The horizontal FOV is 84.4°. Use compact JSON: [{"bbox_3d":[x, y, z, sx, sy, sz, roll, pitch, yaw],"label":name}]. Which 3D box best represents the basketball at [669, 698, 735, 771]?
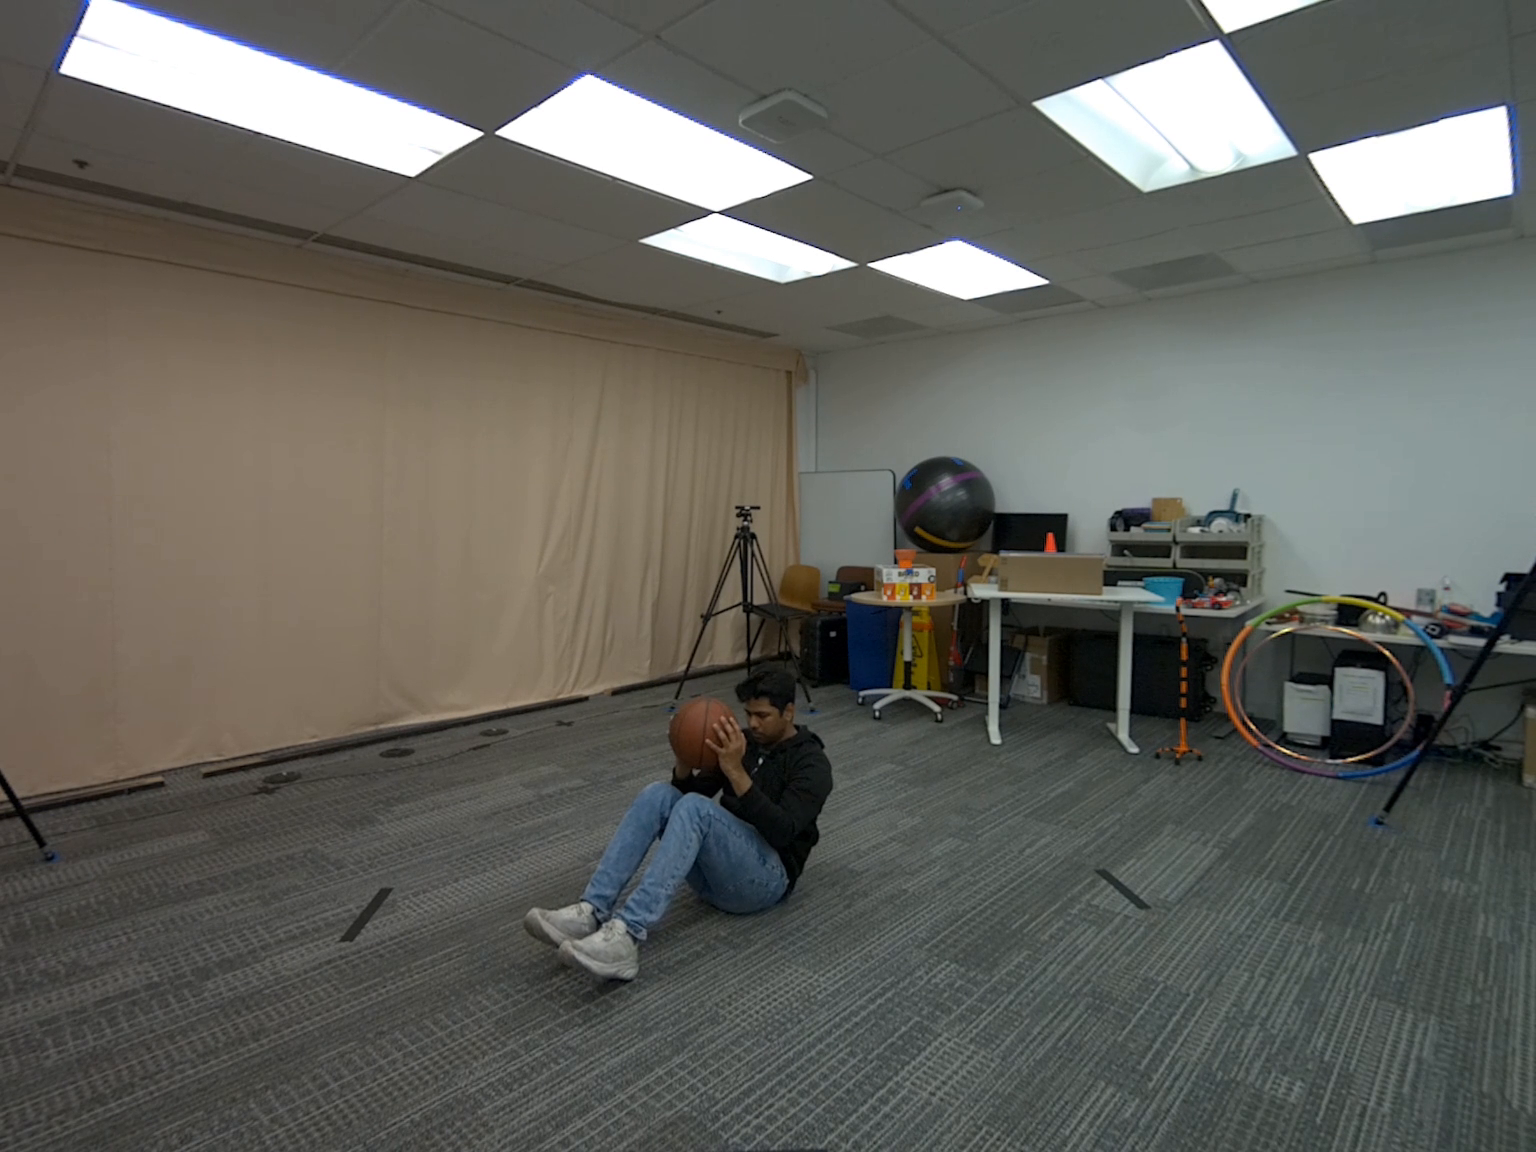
[{"bbox_3d":[-0.203,0.525,2.836,0.236,0.235,0.237,0,4,-2],"label":"basketball"}]
